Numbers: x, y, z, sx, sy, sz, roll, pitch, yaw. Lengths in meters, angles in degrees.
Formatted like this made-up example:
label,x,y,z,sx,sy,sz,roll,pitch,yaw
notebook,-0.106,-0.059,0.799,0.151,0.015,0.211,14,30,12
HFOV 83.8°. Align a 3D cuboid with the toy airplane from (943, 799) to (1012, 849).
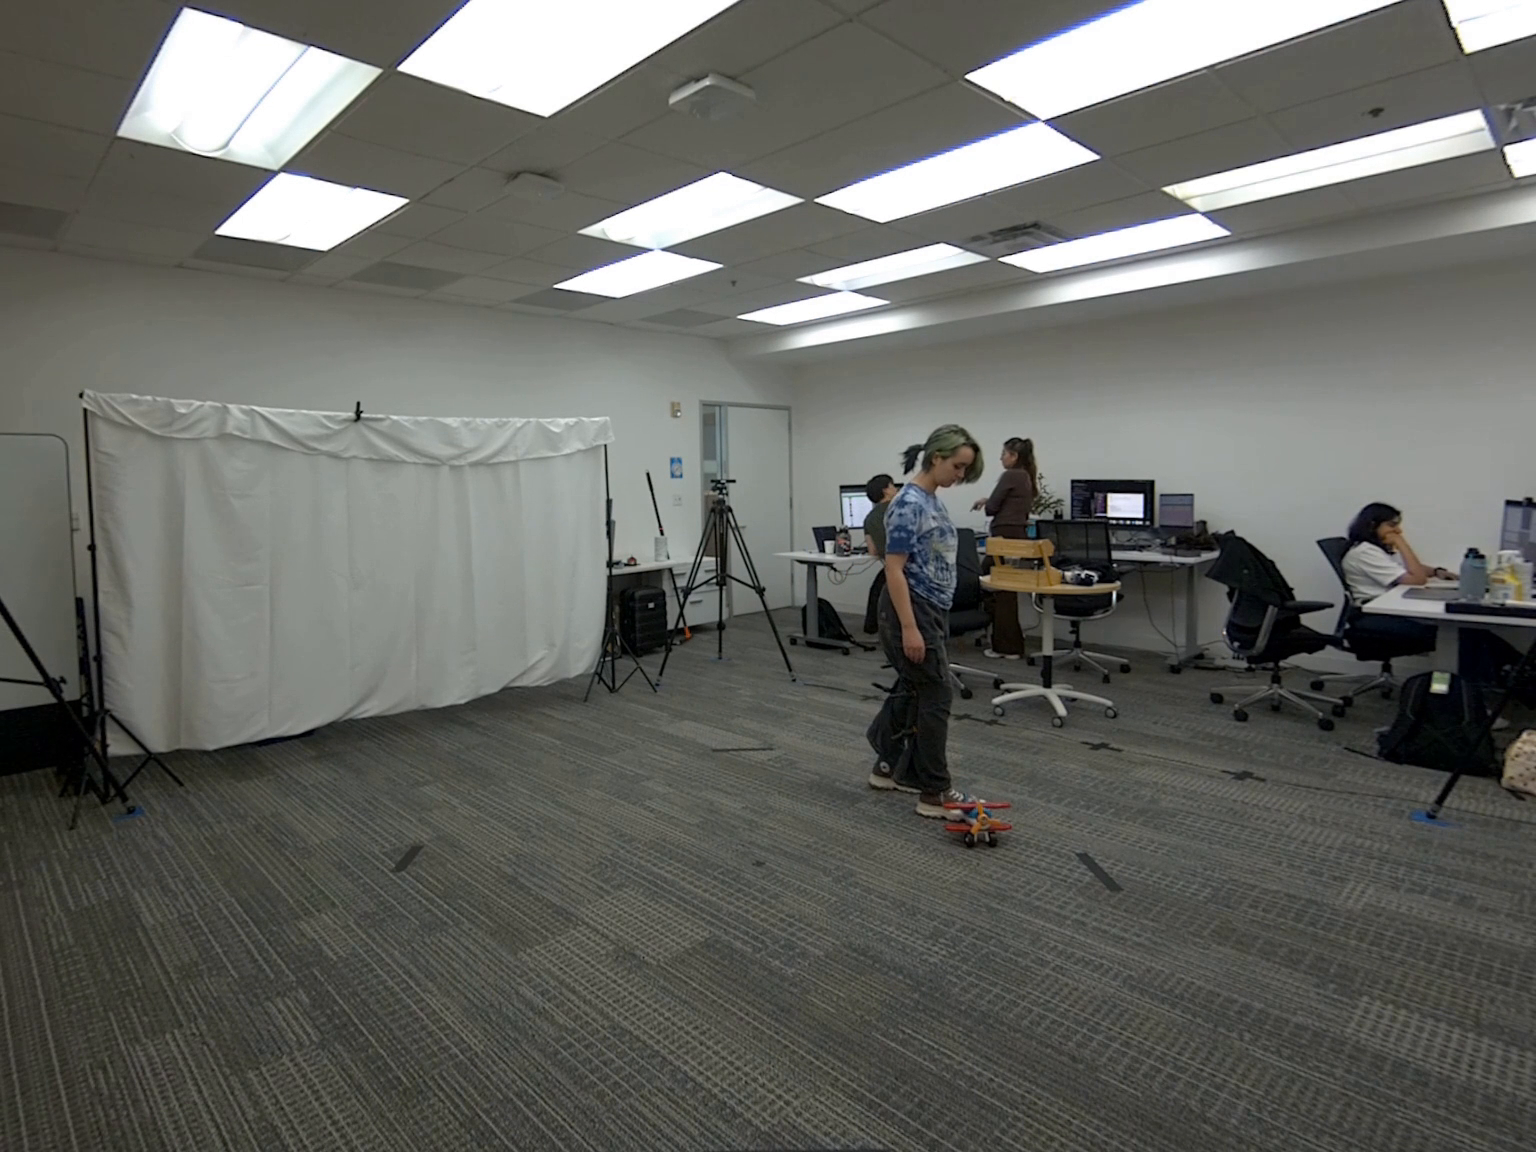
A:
label,x,y,z,sx,sy,sz,roll,pitch,yaw
toy airplane,0.788,0.941,3.304,0.246,0.155,0.266,-6,9,-25
